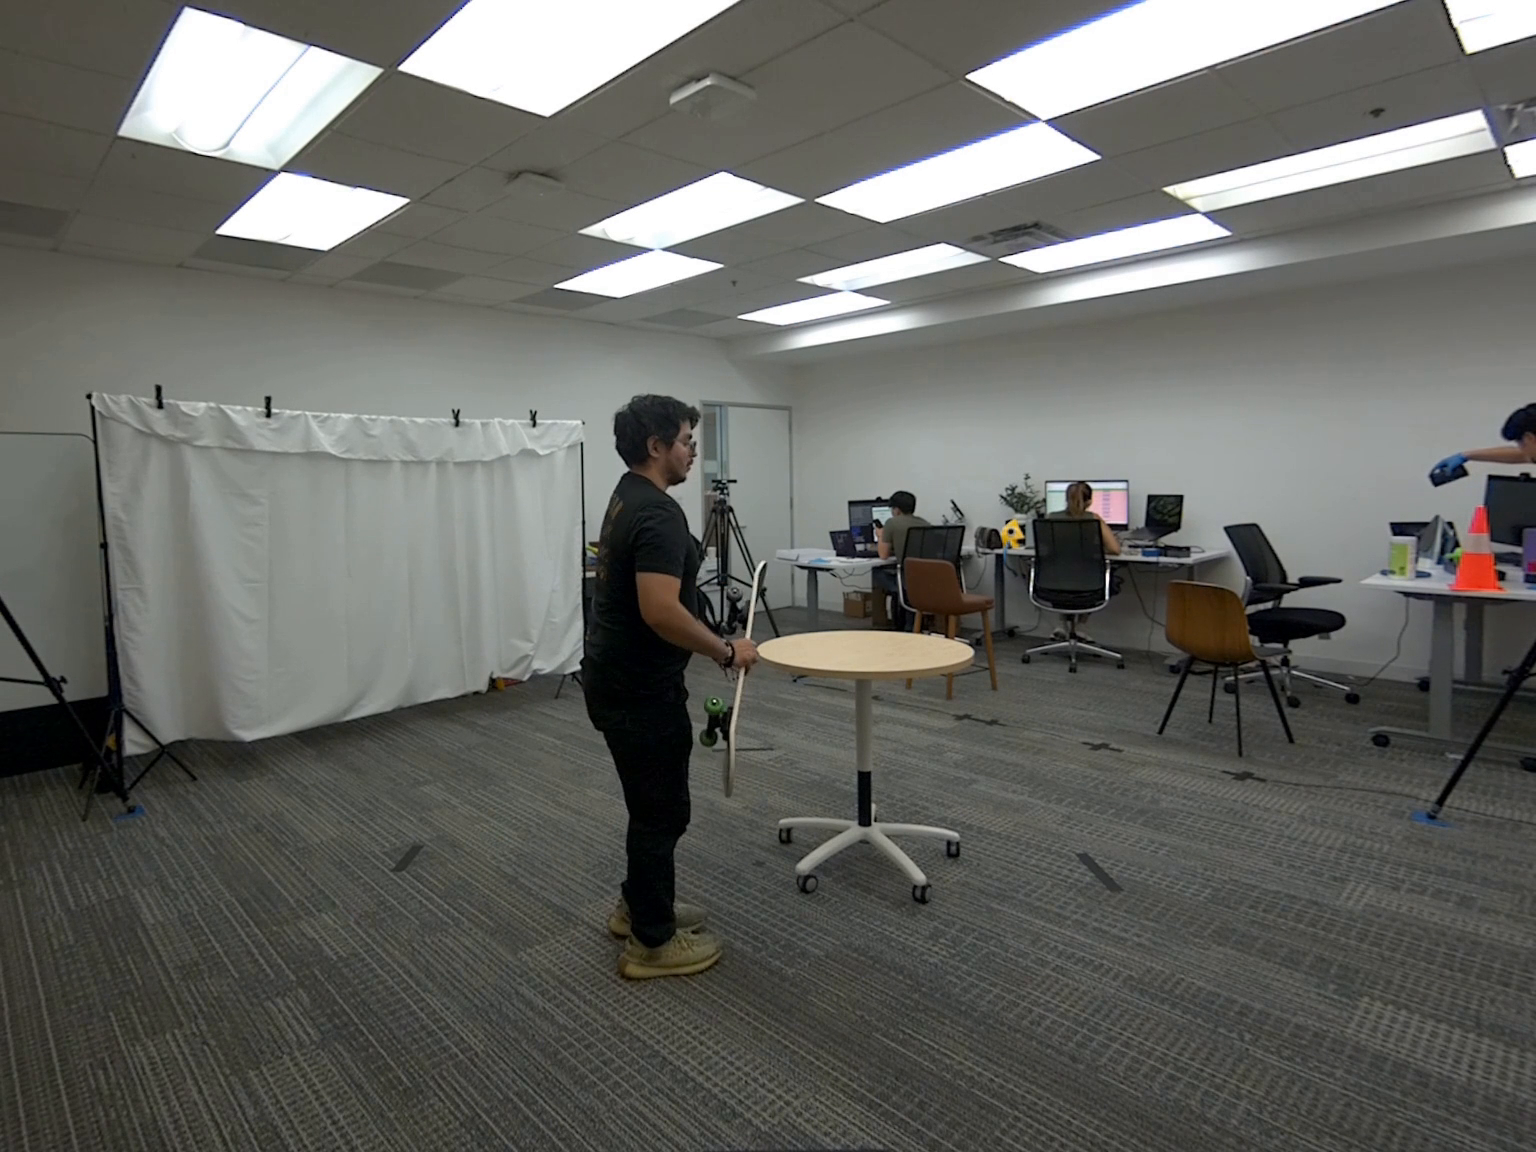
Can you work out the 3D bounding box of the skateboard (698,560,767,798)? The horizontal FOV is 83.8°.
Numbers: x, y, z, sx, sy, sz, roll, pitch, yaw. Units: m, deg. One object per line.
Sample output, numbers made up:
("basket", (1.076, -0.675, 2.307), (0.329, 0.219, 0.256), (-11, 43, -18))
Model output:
("skateboard", (-0.099, 0.256, 2.428), (0.110, 0.189, 0.803), (7, 47, 0))
